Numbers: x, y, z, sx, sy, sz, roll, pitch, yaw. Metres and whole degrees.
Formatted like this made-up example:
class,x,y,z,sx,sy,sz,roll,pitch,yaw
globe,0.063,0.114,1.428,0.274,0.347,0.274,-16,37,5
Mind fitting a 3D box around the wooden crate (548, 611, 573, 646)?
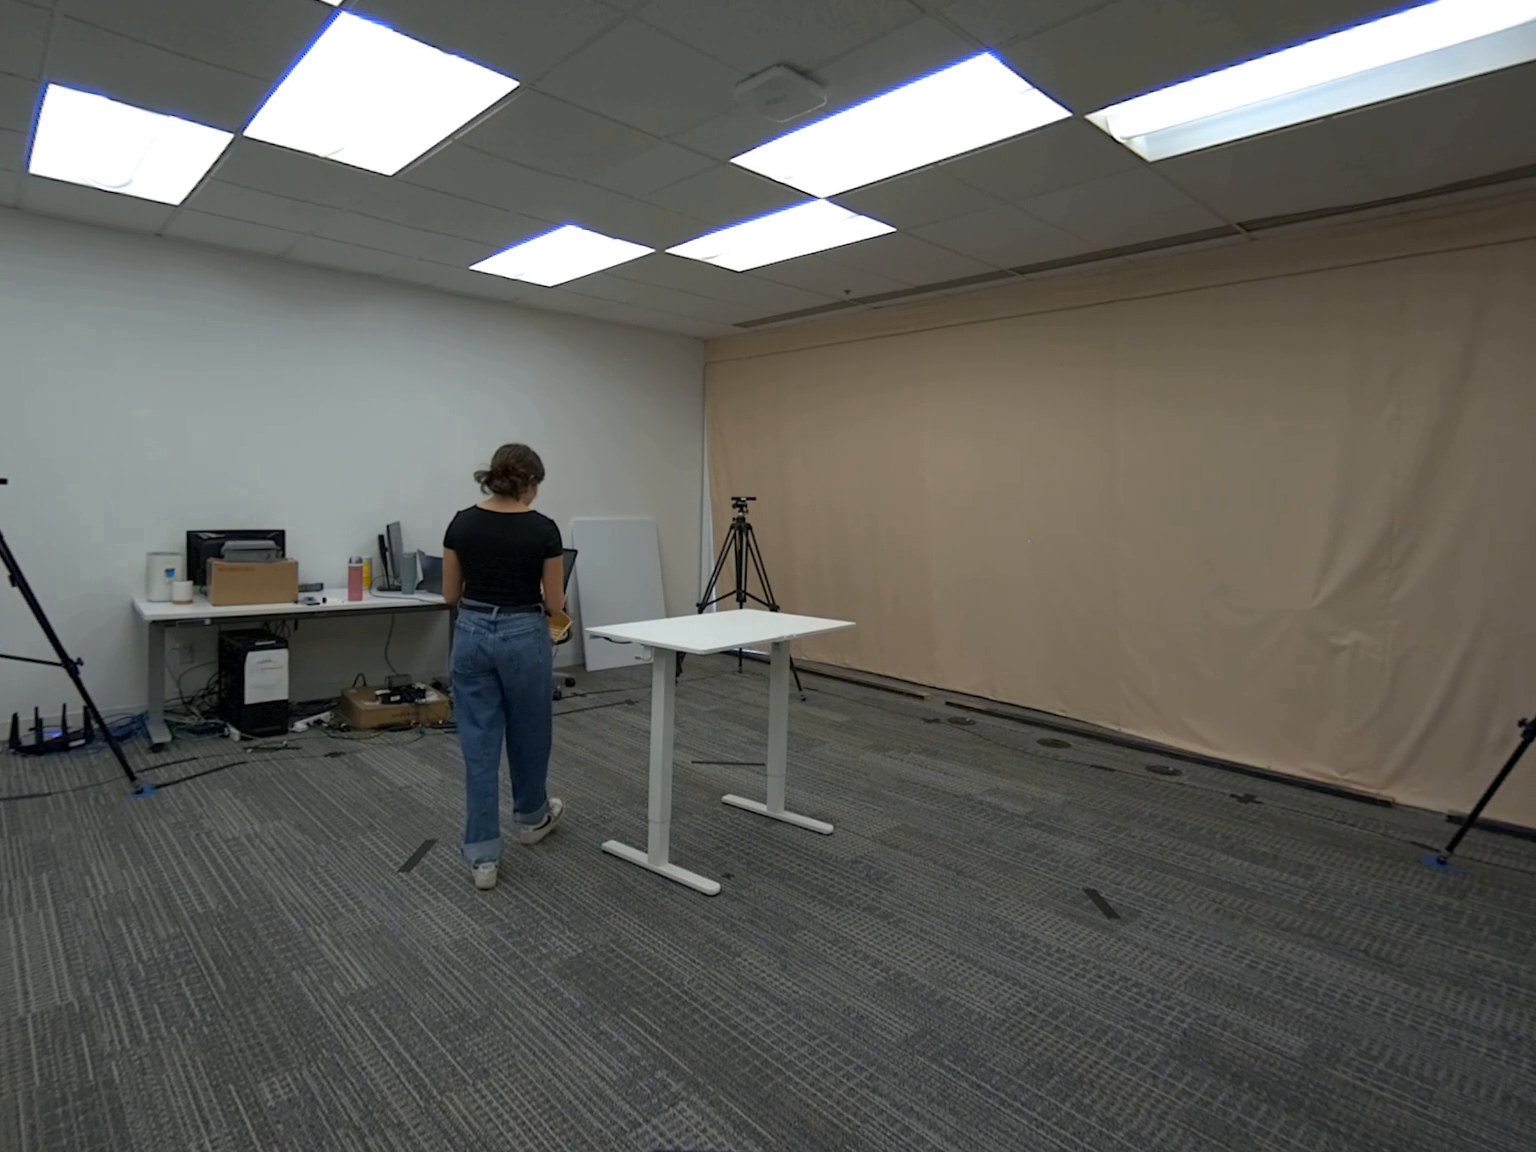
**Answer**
class,x,y,z,sx,sy,sz,roll,pitch,yaw
wooden crate,-0.947,0.111,3.399,0.302,0.271,0.326,12,11,0
